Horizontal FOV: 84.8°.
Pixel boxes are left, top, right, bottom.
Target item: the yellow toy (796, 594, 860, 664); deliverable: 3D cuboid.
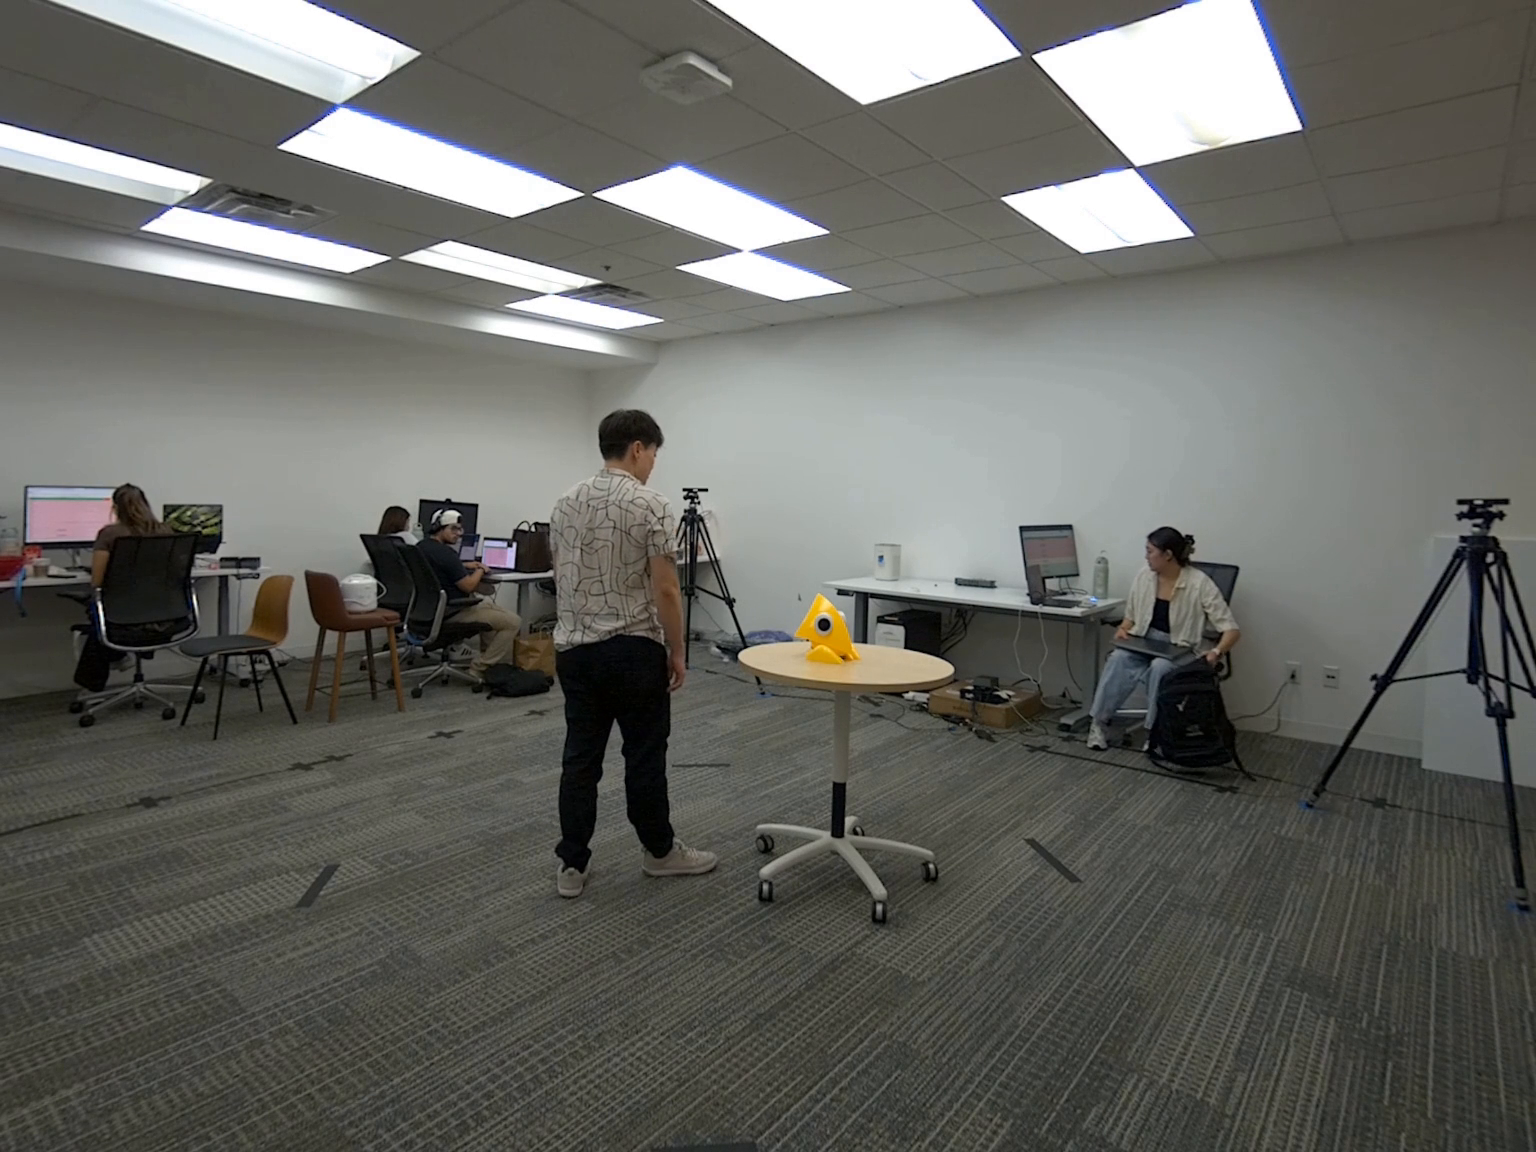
[{"bbox_3d":[0.222,0.186,3.091,0.200,0.230,0.199,6,6,40],"label":"yellow toy"}]
